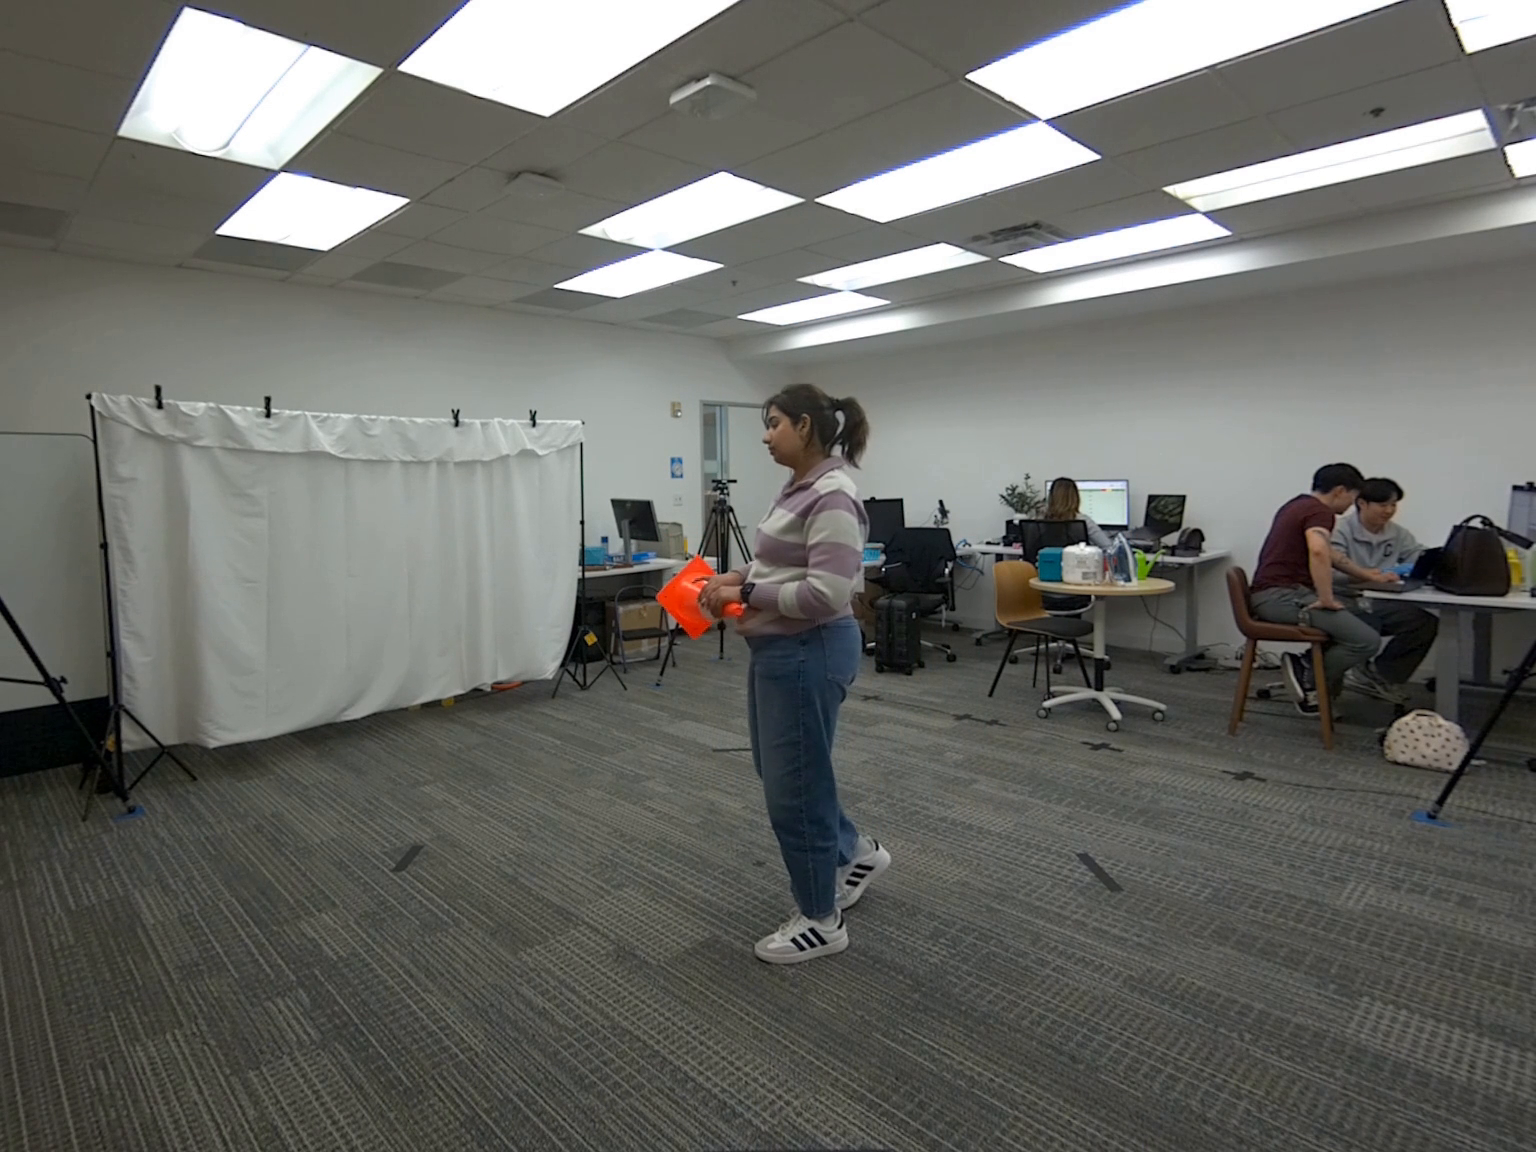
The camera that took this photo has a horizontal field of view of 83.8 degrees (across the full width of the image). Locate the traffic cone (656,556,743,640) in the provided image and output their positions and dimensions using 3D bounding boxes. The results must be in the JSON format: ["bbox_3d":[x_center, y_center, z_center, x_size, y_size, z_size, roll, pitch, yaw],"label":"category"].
[{"bbox_3d":[-0.165,0.093,2.564,0.203,0.201,0.392,-43,18,-8],"label":"traffic cone"}]
